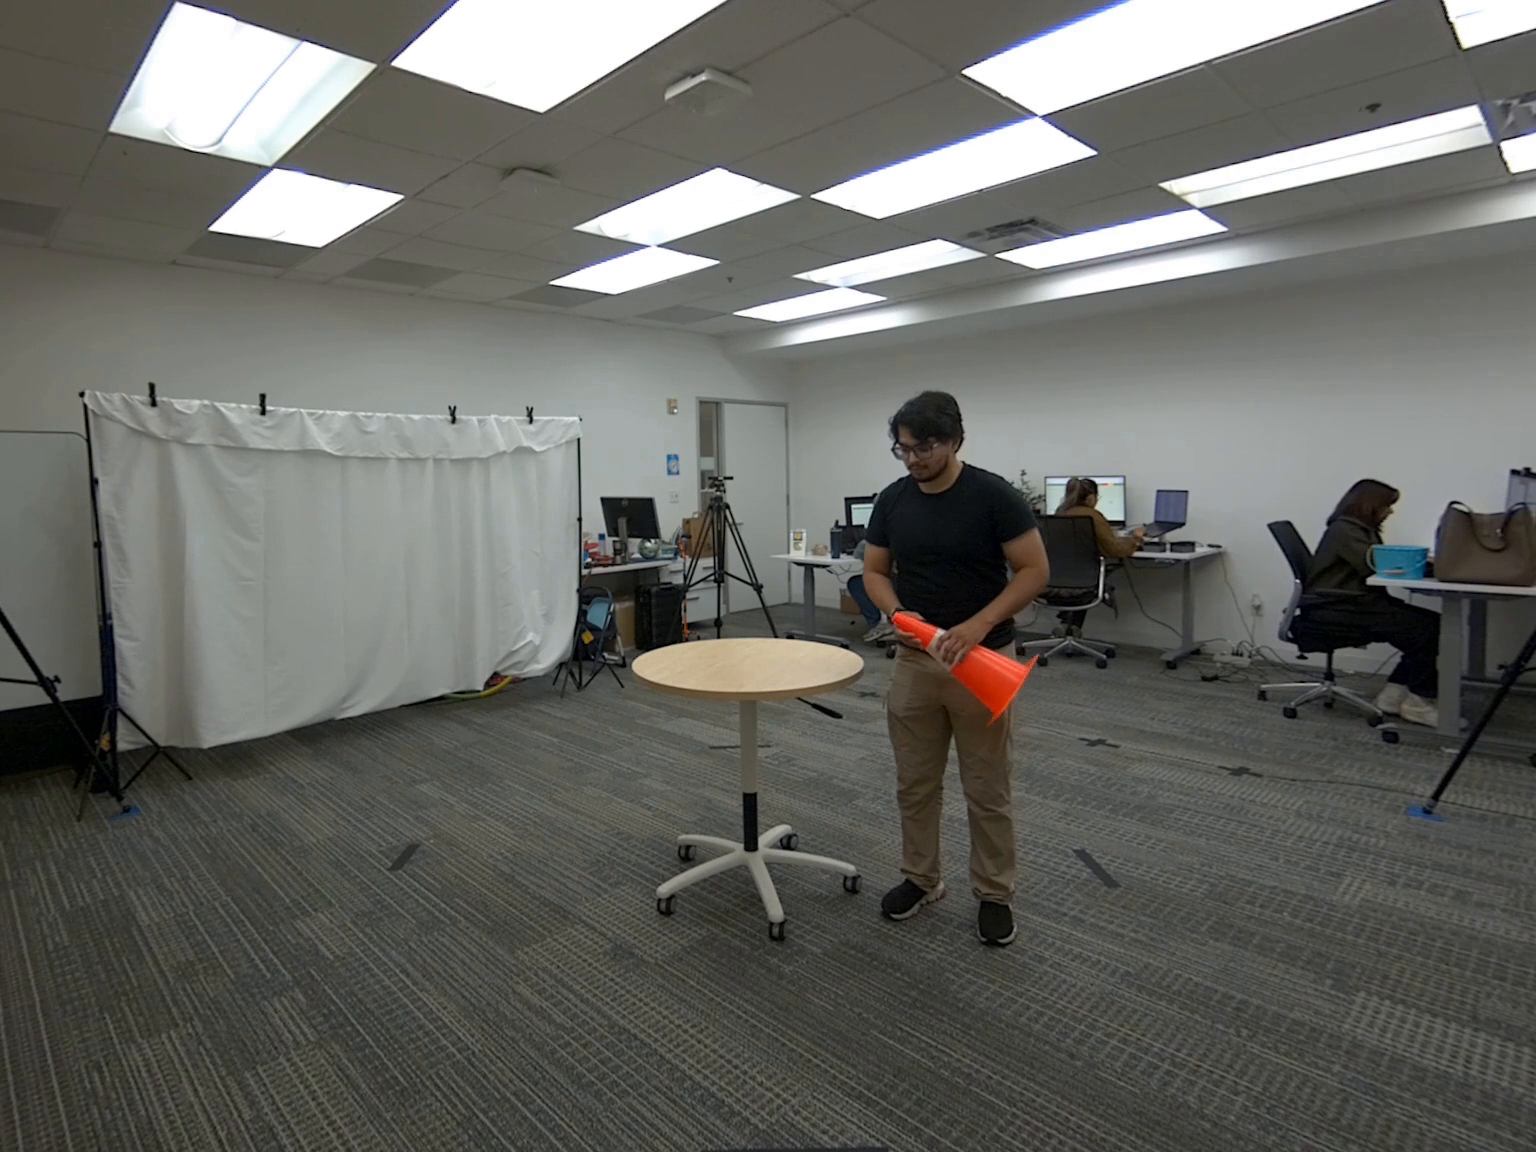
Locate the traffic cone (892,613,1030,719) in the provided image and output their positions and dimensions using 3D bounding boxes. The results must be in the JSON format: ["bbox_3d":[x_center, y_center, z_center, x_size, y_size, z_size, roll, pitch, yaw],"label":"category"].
[{"bbox_3d":[0.536,0.224,2.427,0.390,0.206,0.199,31,-20,12],"label":"traffic cone"}]
